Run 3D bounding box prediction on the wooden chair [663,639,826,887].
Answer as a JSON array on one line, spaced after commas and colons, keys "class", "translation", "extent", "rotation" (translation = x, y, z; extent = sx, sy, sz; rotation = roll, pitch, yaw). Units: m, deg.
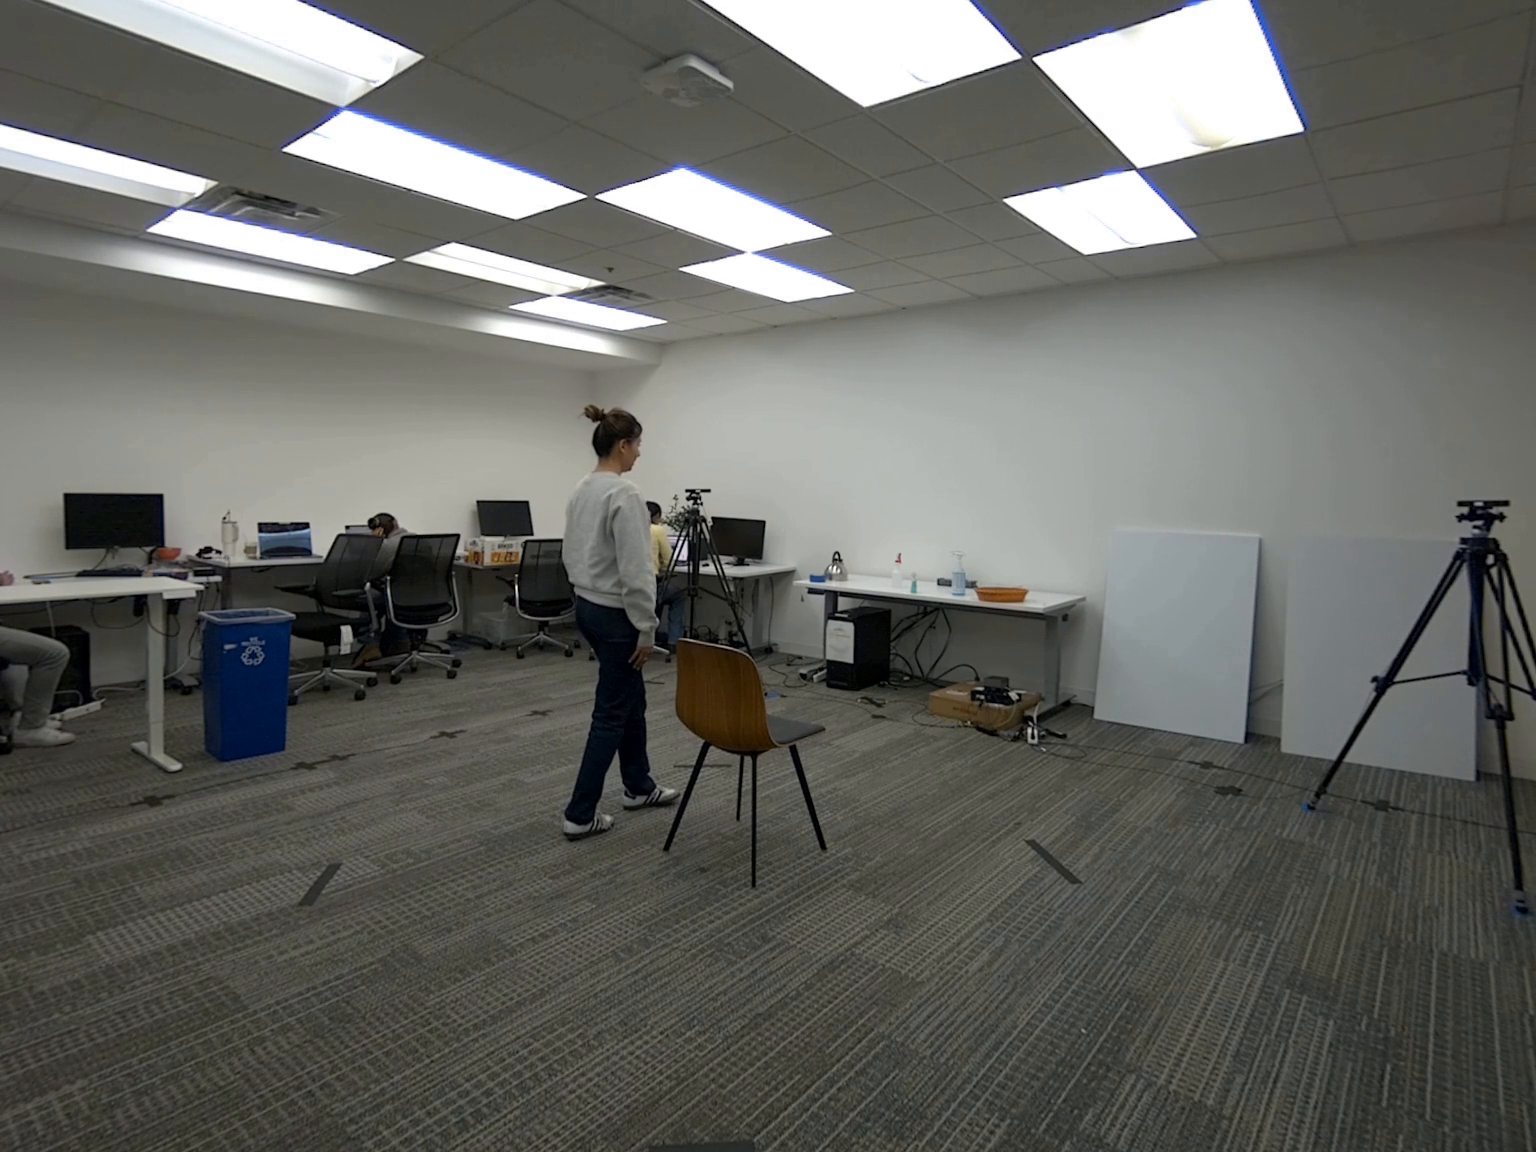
[{"class": "wooden chair", "translation": [-0.083, 0.634, 3.268], "extent": [0.494, 0.872, 0.509], "rotation": [3, 8, 39]}]
